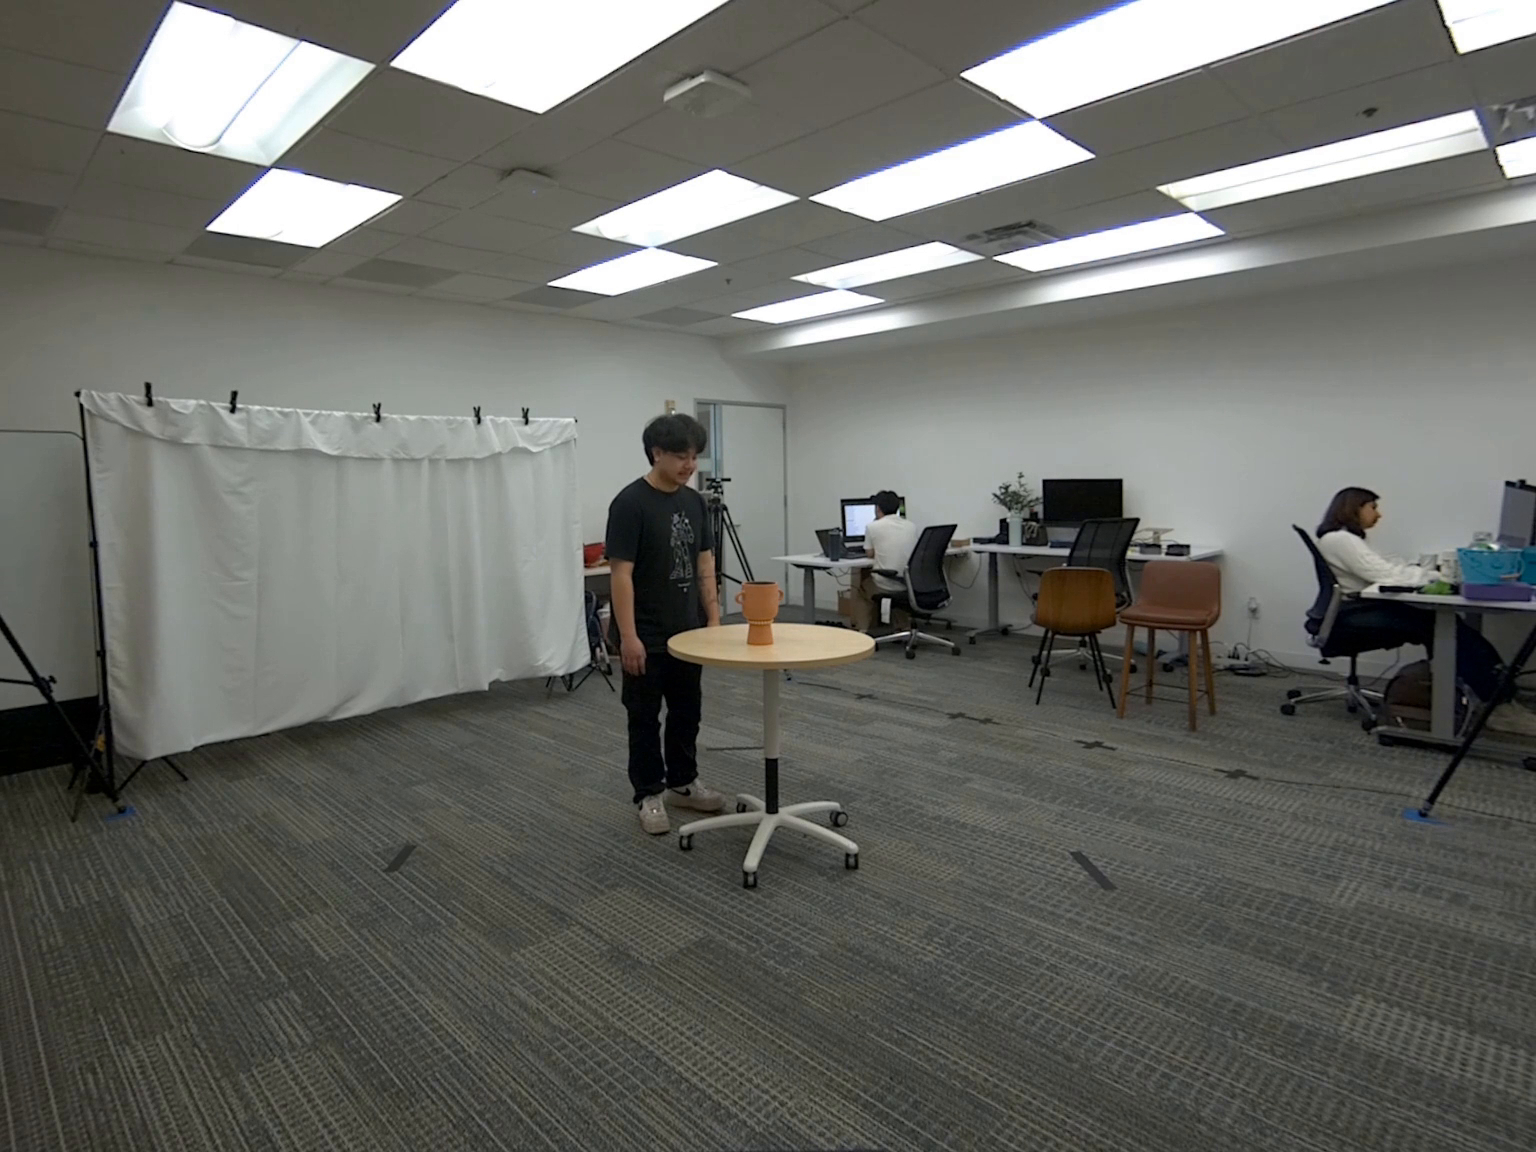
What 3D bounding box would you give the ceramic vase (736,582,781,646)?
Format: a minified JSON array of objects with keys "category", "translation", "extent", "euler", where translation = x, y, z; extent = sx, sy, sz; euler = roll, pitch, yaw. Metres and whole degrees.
[{"category":"ceramic vase","translation":[-0.027,0.137,3.121],"extent":[0.132,0.219,0.162],"euler":[-2,3,-24]}]
